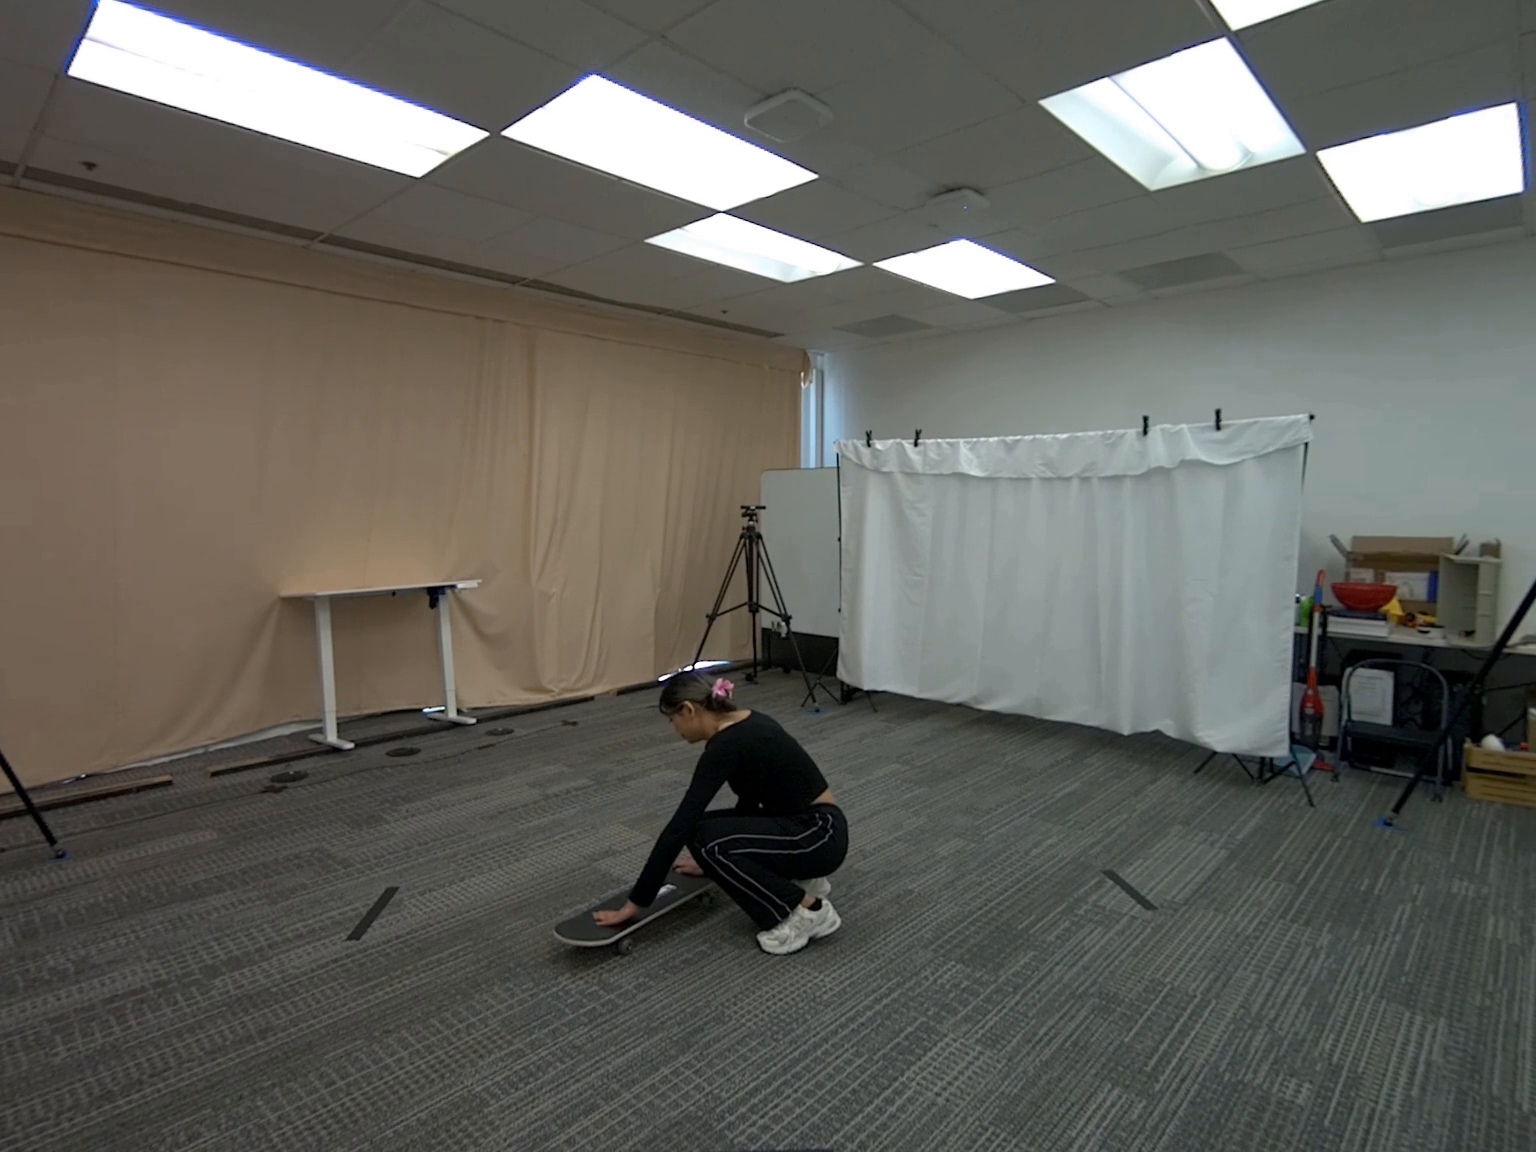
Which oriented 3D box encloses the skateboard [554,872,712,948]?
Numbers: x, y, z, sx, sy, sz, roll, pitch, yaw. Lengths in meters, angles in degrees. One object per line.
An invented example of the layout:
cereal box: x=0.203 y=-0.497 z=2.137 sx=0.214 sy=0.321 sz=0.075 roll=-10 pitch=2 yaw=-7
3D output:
skateboard: x=-0.384 y=1.104 z=2.820 sx=0.200 sy=0.110 sz=0.762 roll=3 pitch=6 yaw=38
